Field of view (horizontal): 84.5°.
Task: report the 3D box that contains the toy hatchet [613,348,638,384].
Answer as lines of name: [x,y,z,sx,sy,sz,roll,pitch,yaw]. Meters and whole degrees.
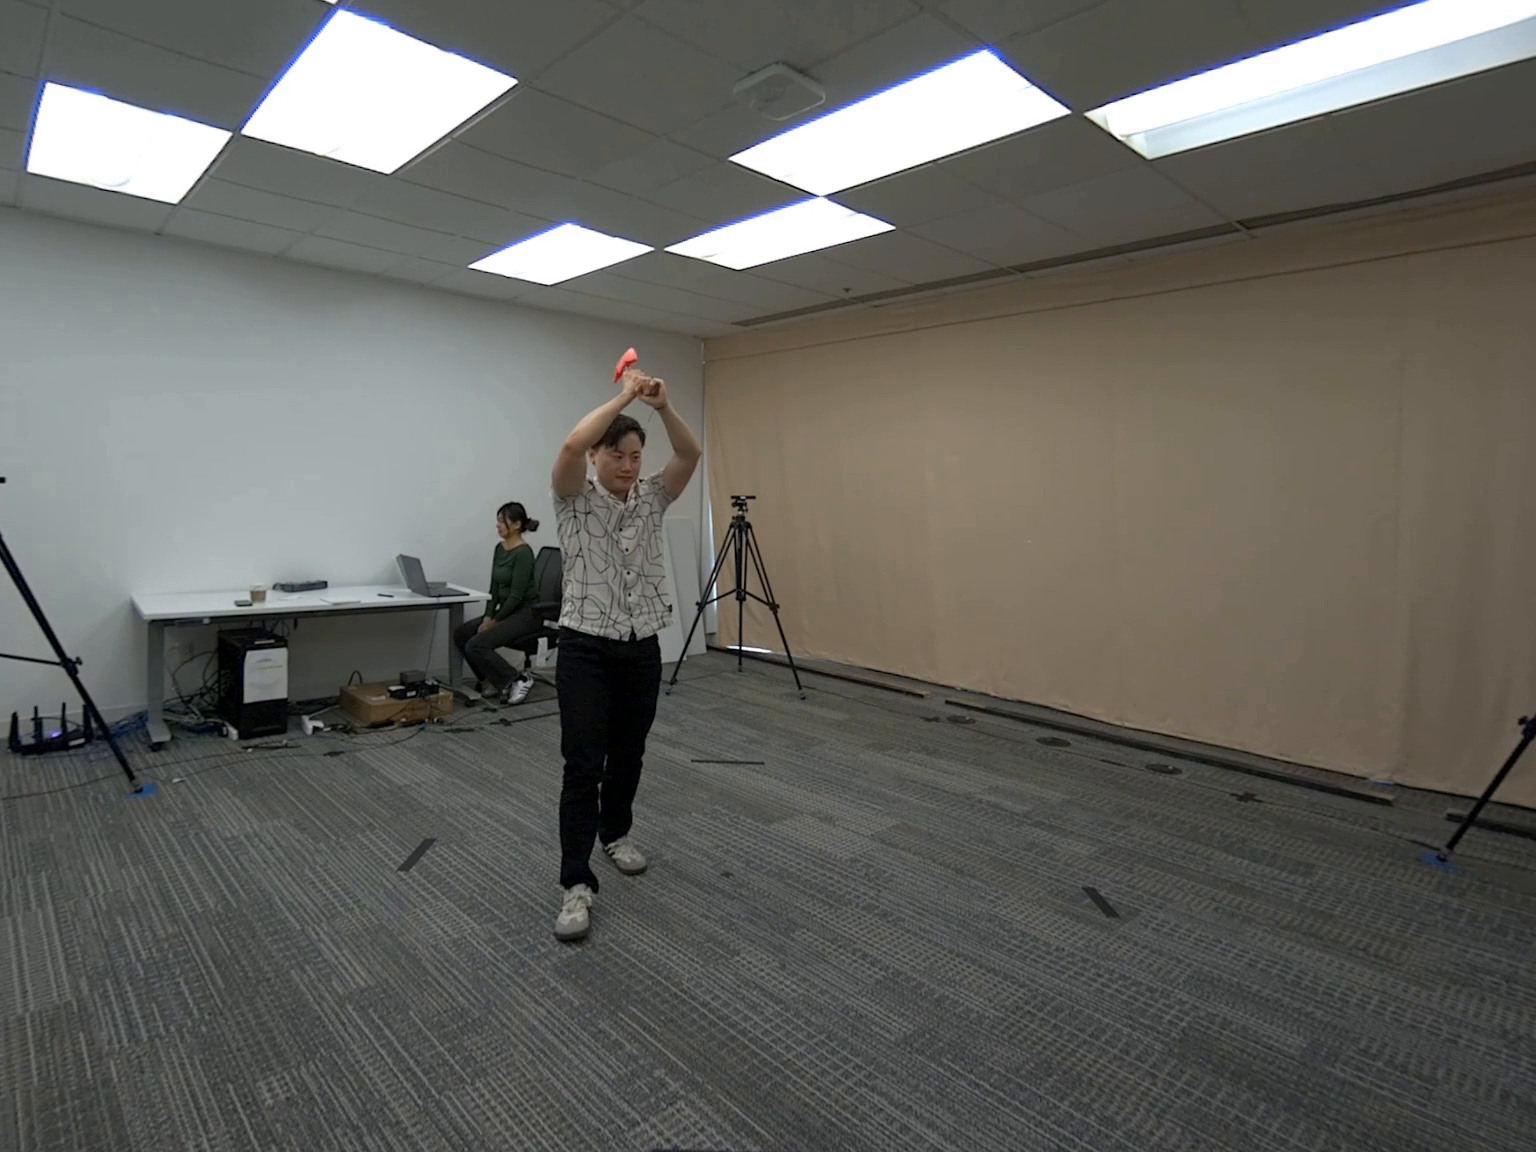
toy hatchet: [-0.430,-0.681,2.747,0.029,0.131,0.278,17,7,-40]
